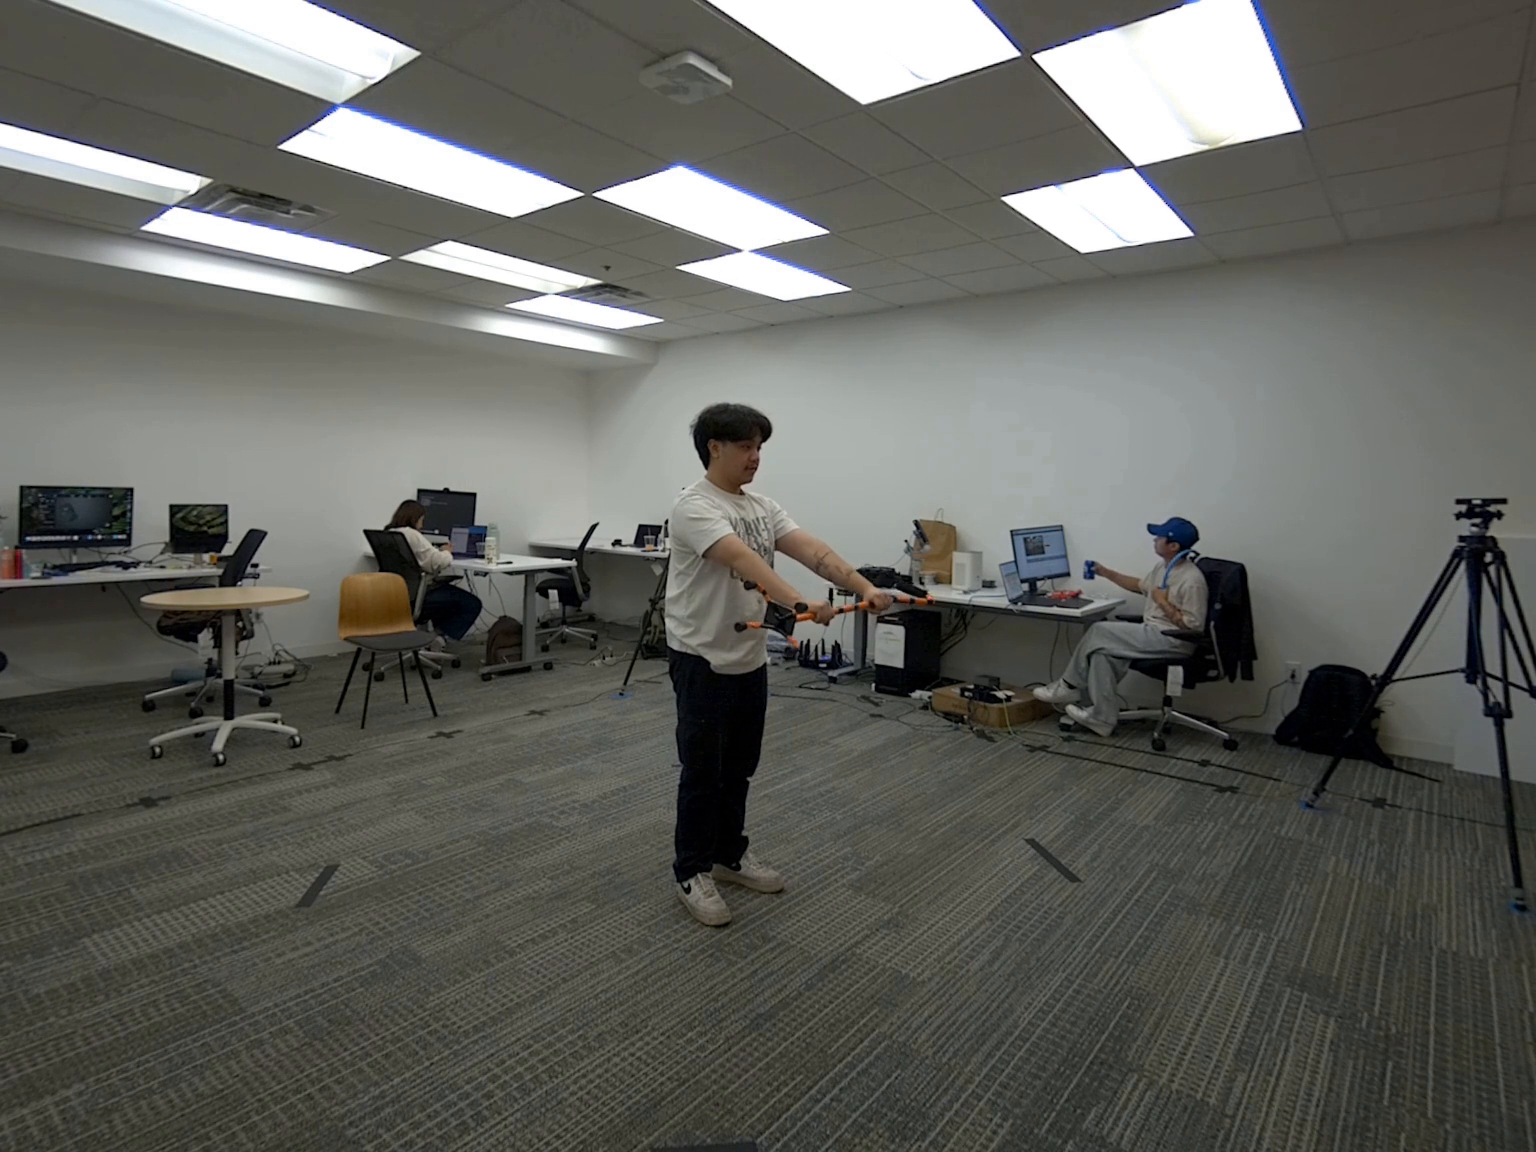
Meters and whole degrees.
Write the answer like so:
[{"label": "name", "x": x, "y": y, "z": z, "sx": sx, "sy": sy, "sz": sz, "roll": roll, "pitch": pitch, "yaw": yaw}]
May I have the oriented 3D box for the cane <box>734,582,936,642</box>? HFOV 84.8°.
[{"label": "cane", "x": 0.262, "y": 0.065, "z": 2.608, "sx": 0.214, "sy": 0.150, "sz": 0.881, "roll": 22, "pitch": 18, "yaw": 36}]
